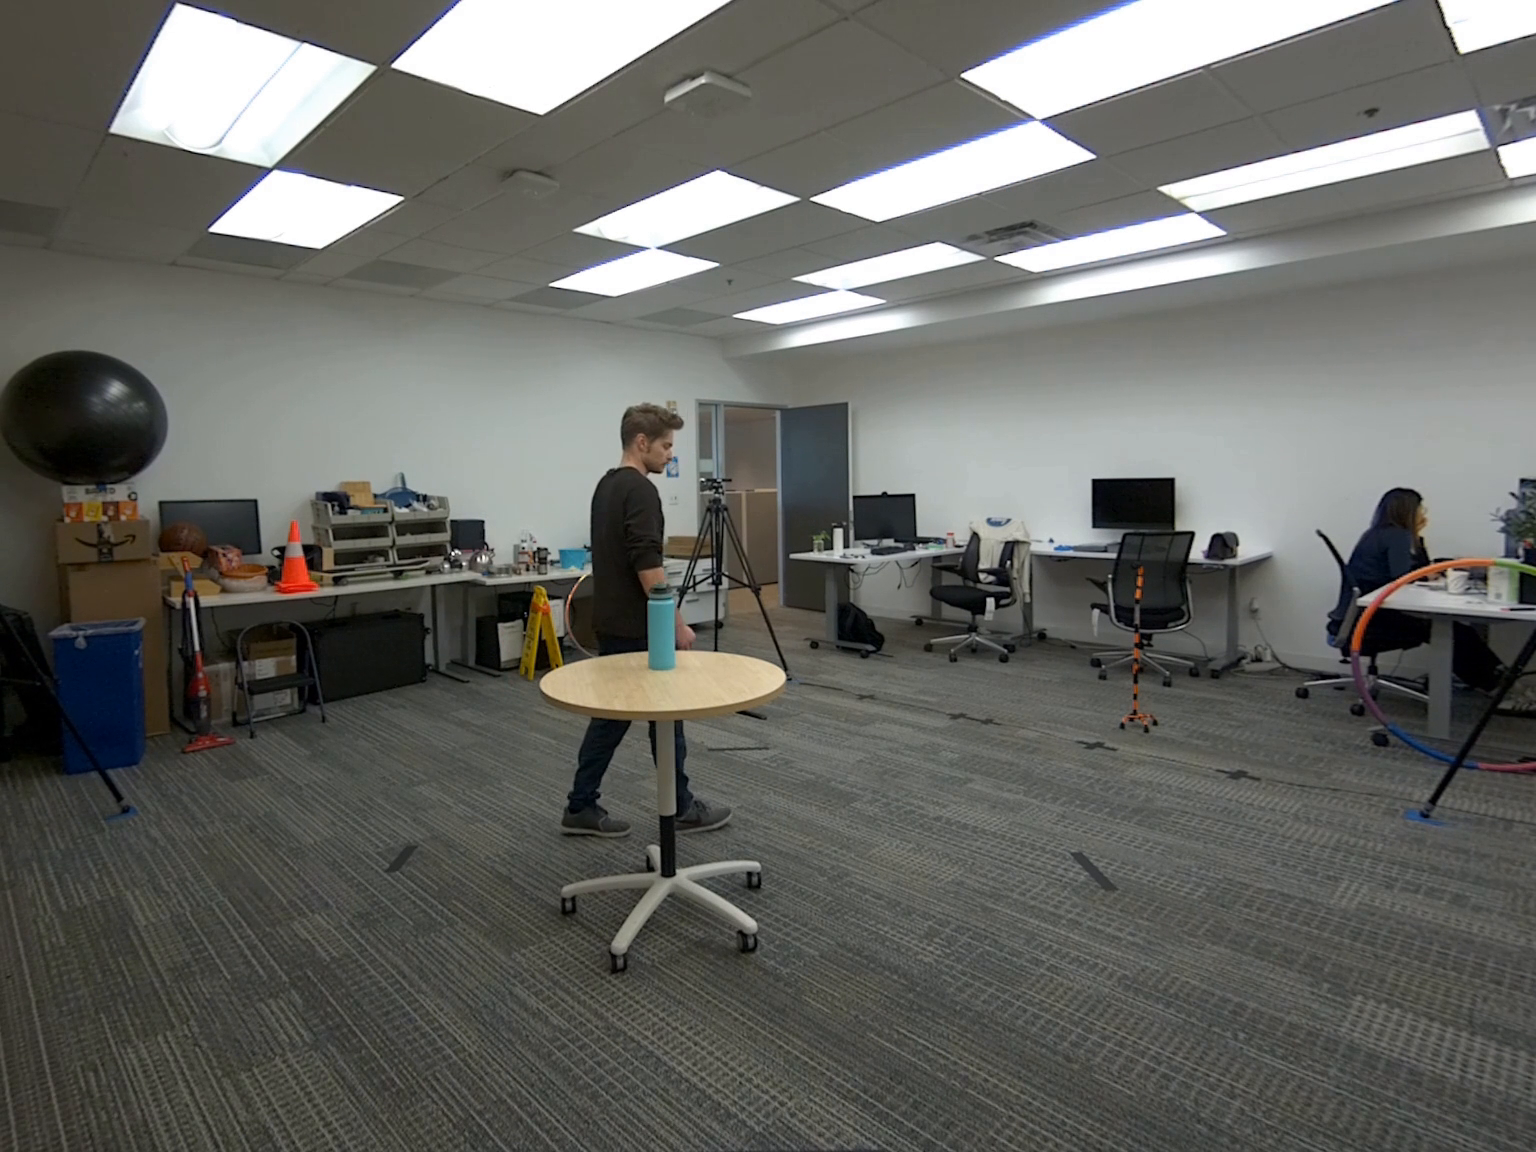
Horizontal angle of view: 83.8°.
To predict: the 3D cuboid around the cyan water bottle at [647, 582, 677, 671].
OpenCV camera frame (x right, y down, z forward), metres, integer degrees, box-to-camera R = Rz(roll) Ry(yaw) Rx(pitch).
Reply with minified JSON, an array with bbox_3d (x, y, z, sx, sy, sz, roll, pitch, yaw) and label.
[{"bbox_3d":[-0.350,0.162,2.801,0.092,0.283,0.092,-2,2,-2],"label":"cyan water bottle"}]
